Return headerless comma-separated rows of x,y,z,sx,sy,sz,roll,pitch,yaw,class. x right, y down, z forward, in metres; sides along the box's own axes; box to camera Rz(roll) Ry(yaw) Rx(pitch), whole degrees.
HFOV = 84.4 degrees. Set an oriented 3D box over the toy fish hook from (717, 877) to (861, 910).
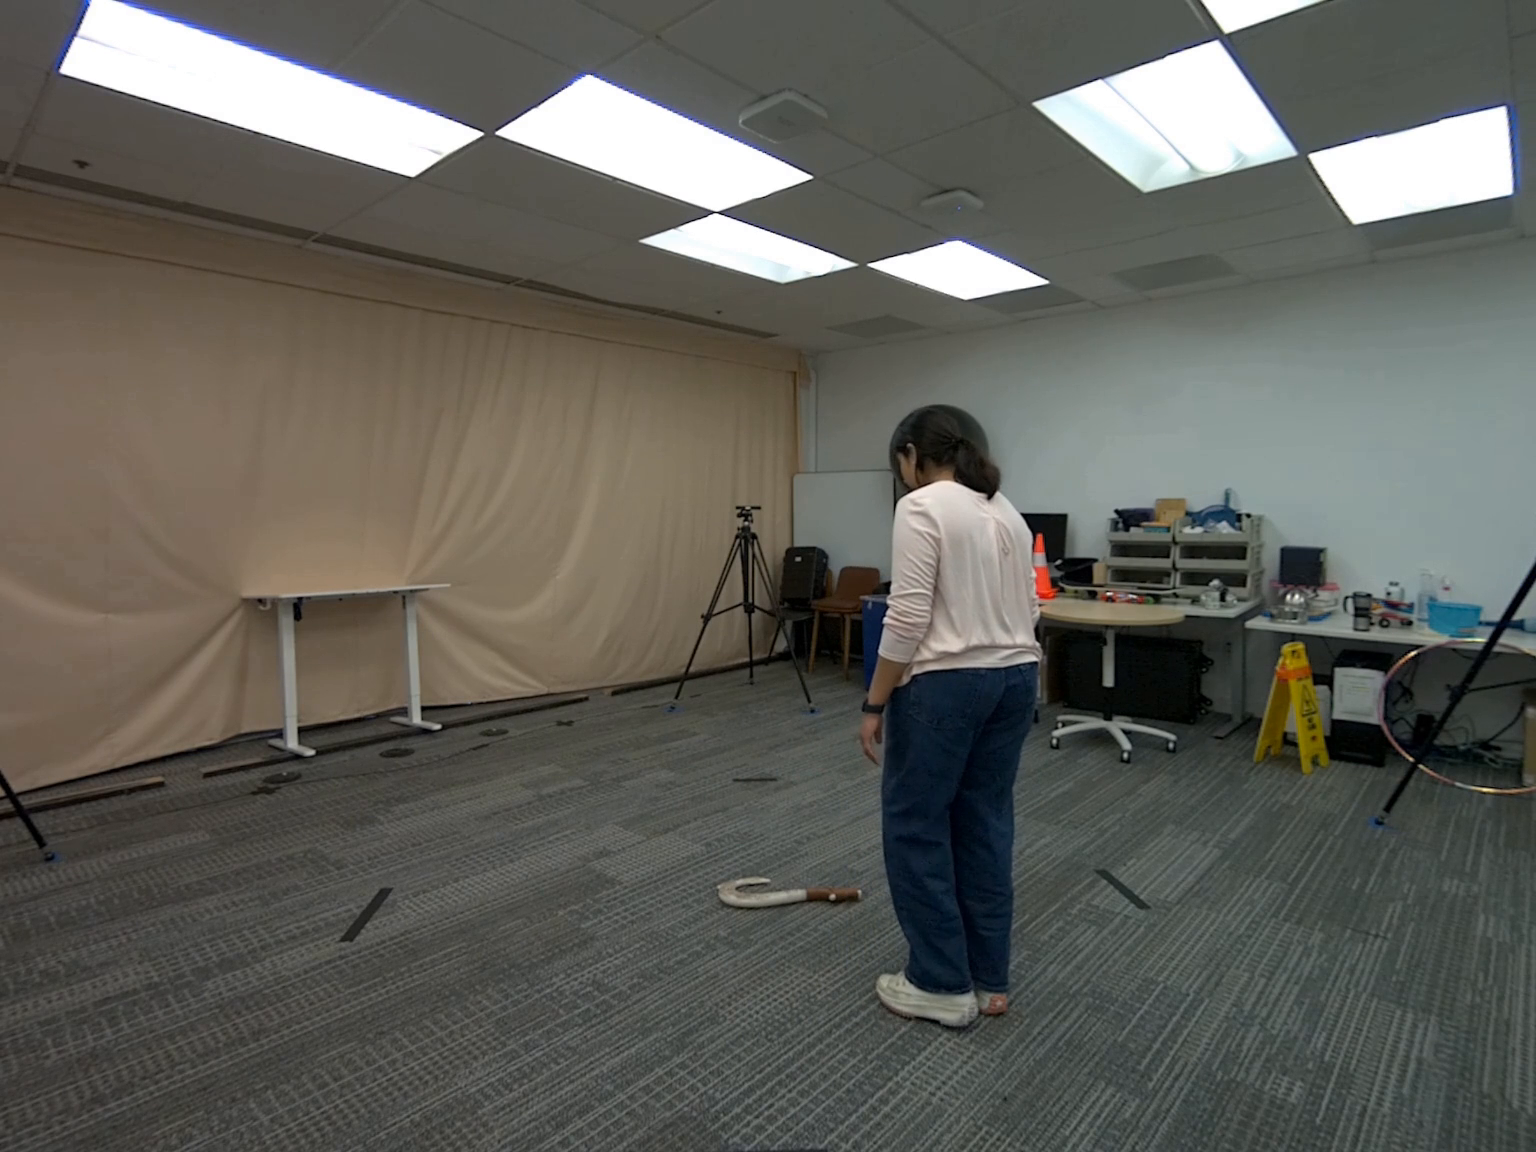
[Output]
0.079,1.118,3.008,0.505,0.048,0.226,0,5,-3,toy fish hook
